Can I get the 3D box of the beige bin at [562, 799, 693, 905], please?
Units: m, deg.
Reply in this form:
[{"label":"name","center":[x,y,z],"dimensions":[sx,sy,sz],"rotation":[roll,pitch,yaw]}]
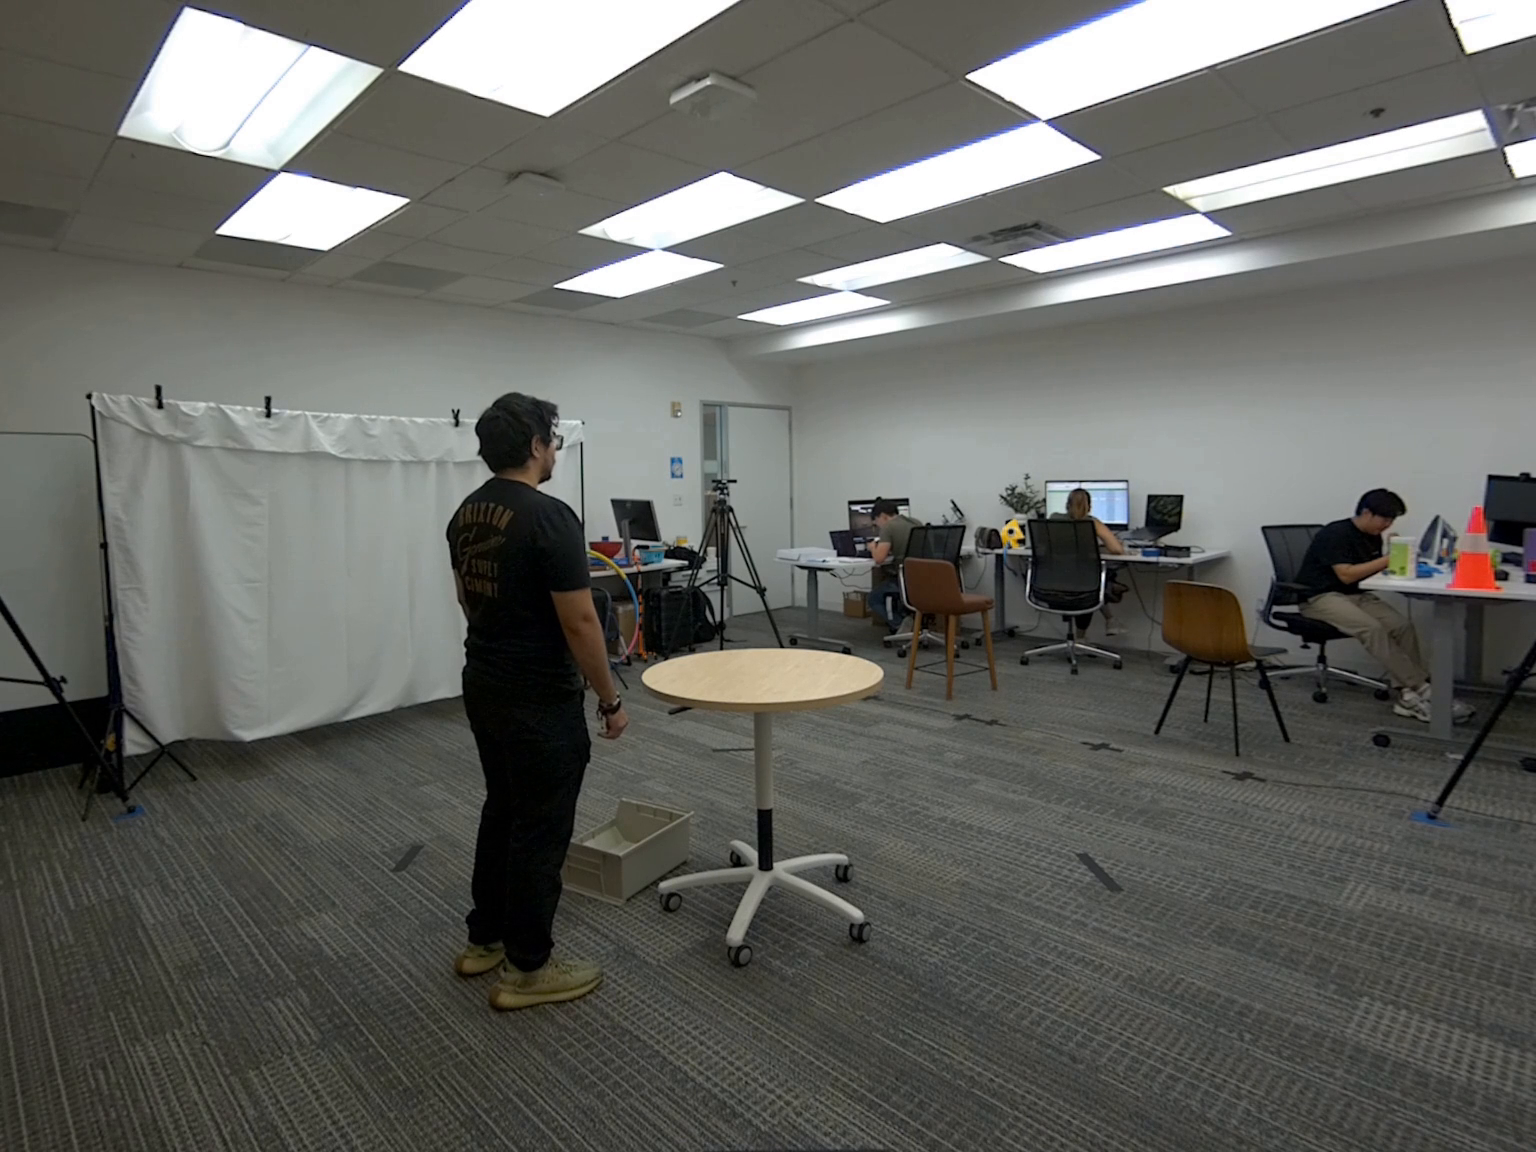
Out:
[{"label":"beige bin","center":[-0.534,0.974,3.068],"dimensions":[0.388,0.188,0.413],"rotation":[3,7,31]}]
